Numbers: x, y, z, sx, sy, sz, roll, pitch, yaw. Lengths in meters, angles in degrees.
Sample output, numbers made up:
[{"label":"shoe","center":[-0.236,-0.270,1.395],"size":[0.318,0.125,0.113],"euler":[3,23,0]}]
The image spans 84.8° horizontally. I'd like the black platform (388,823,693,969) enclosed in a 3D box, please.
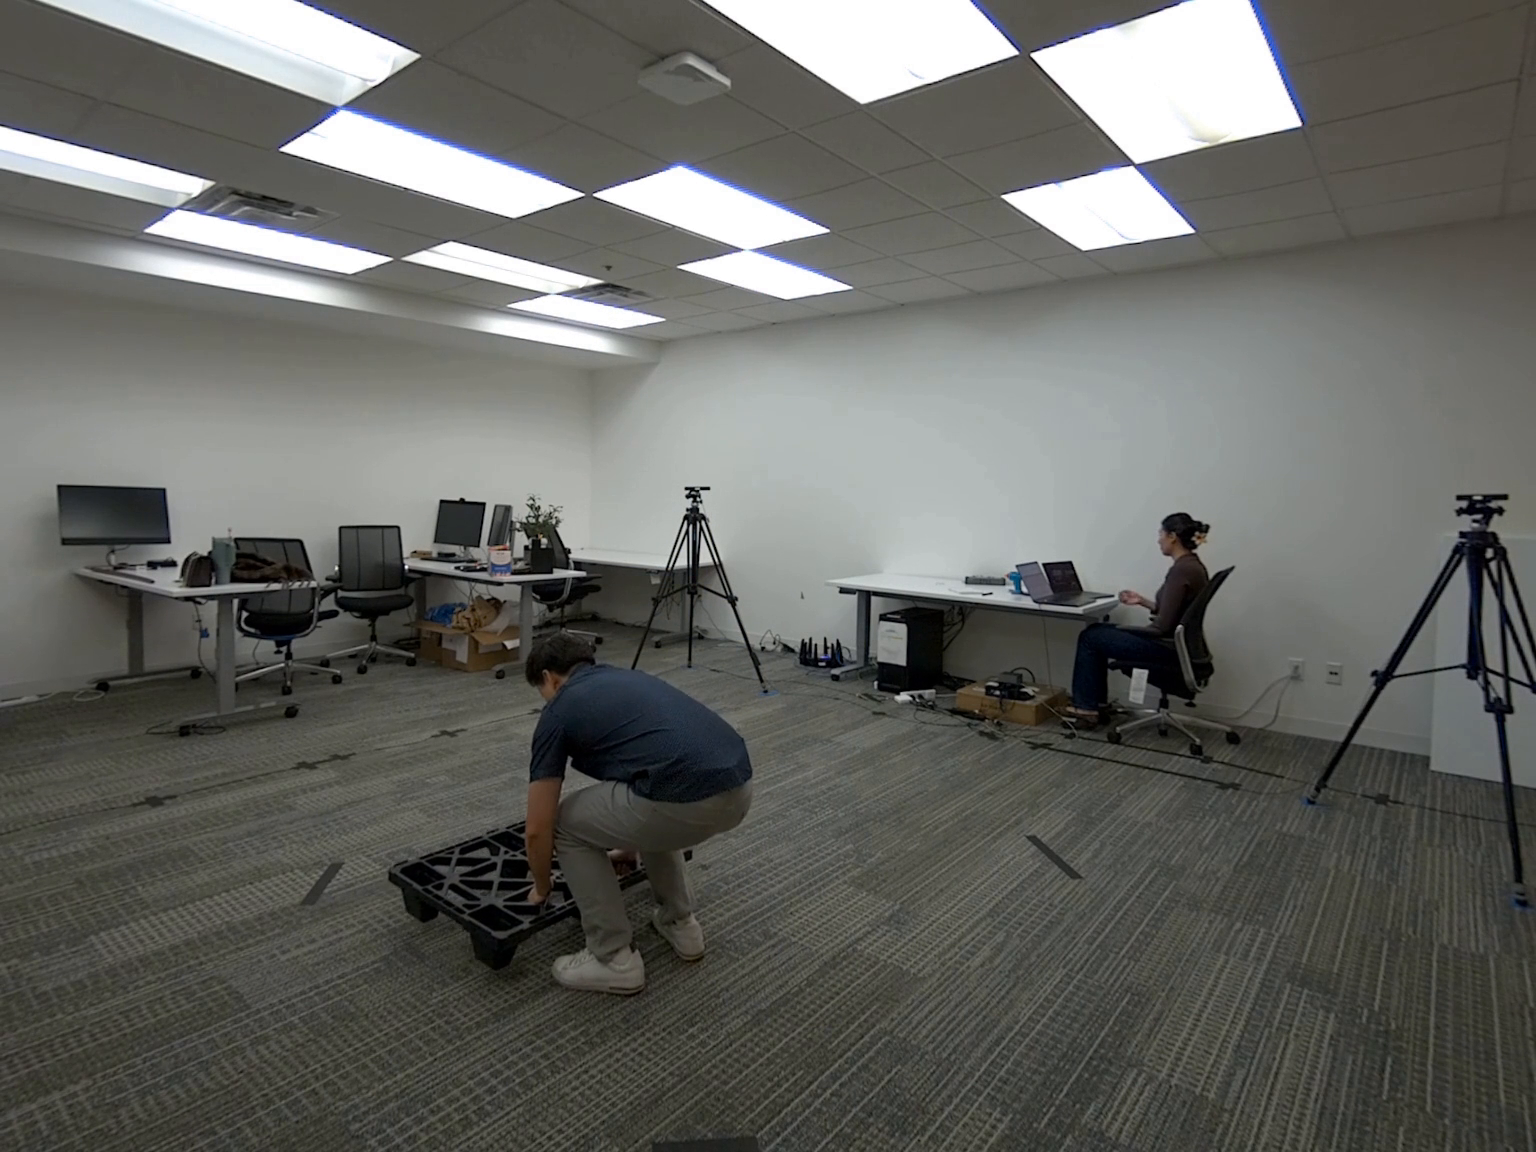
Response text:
[{"label":"black platform","center":[-0.748,0.989,2.796],"size":[0.626,0.143,0.782],"euler":[6,8,38]}]
